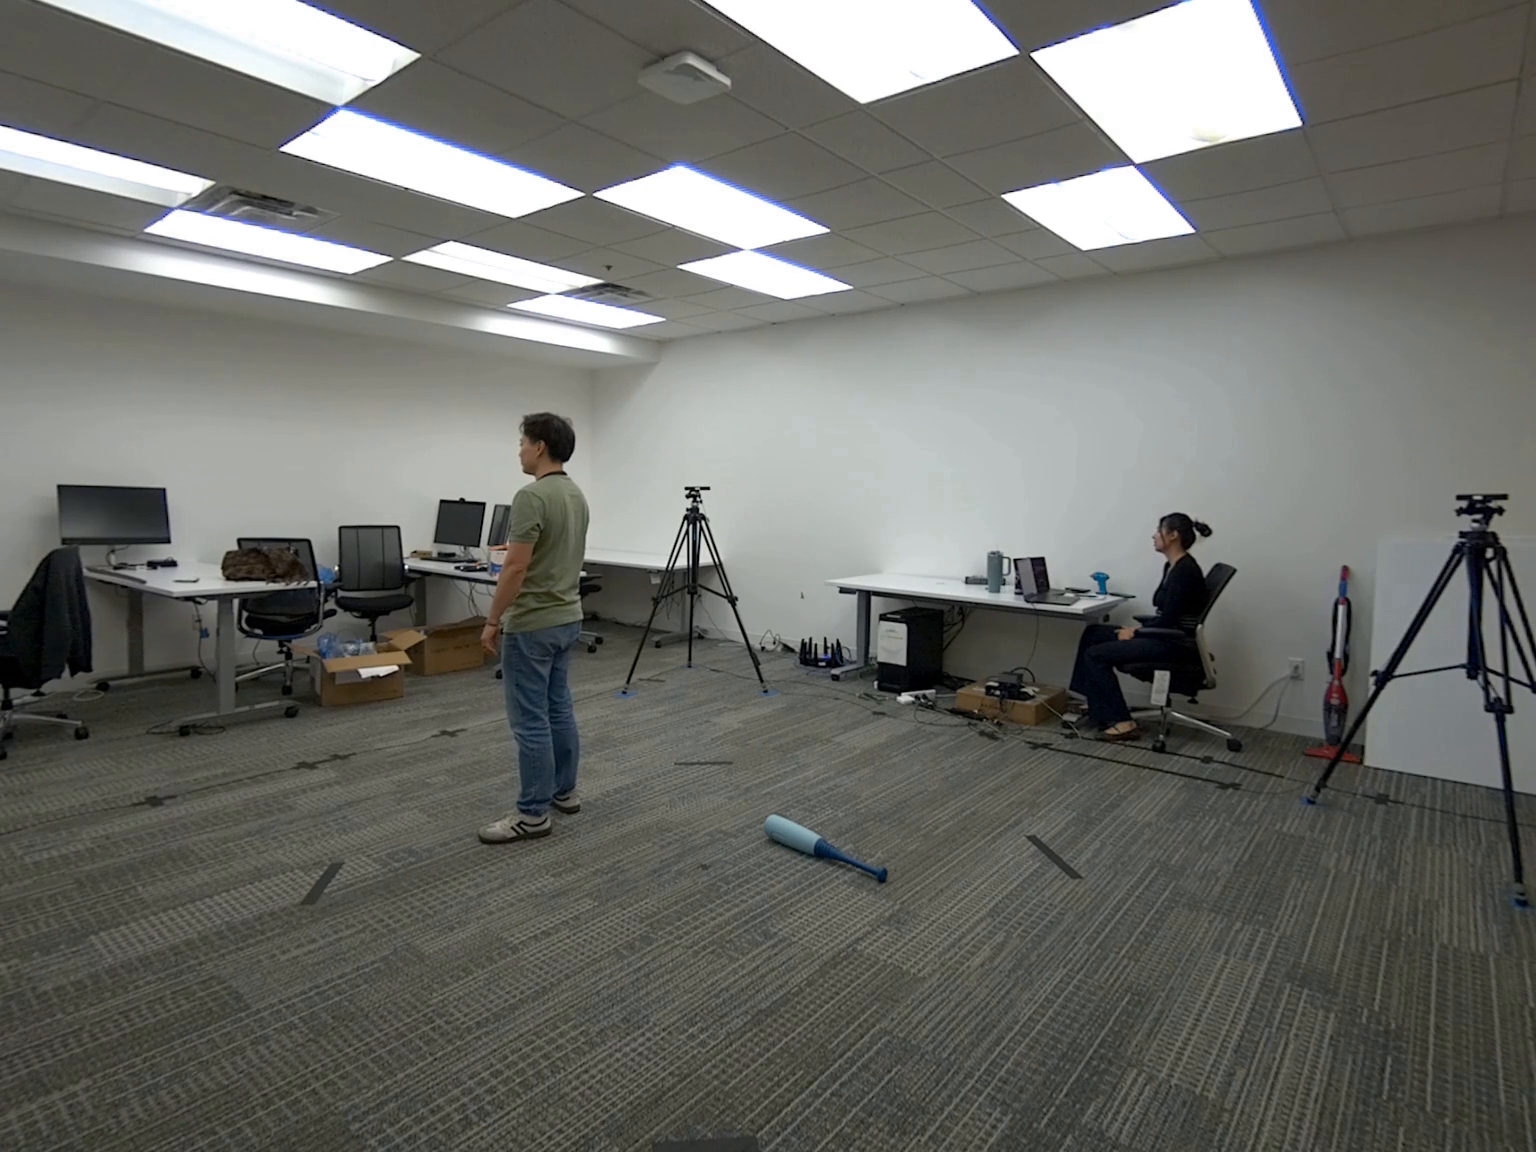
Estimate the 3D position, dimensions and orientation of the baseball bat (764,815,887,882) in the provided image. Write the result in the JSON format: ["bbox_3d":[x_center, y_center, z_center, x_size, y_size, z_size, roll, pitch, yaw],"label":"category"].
[{"bbox_3d":[0.204,1.028,3.209,0.563,0.088,0.086,11,10,41],"label":"baseball bat"}]
